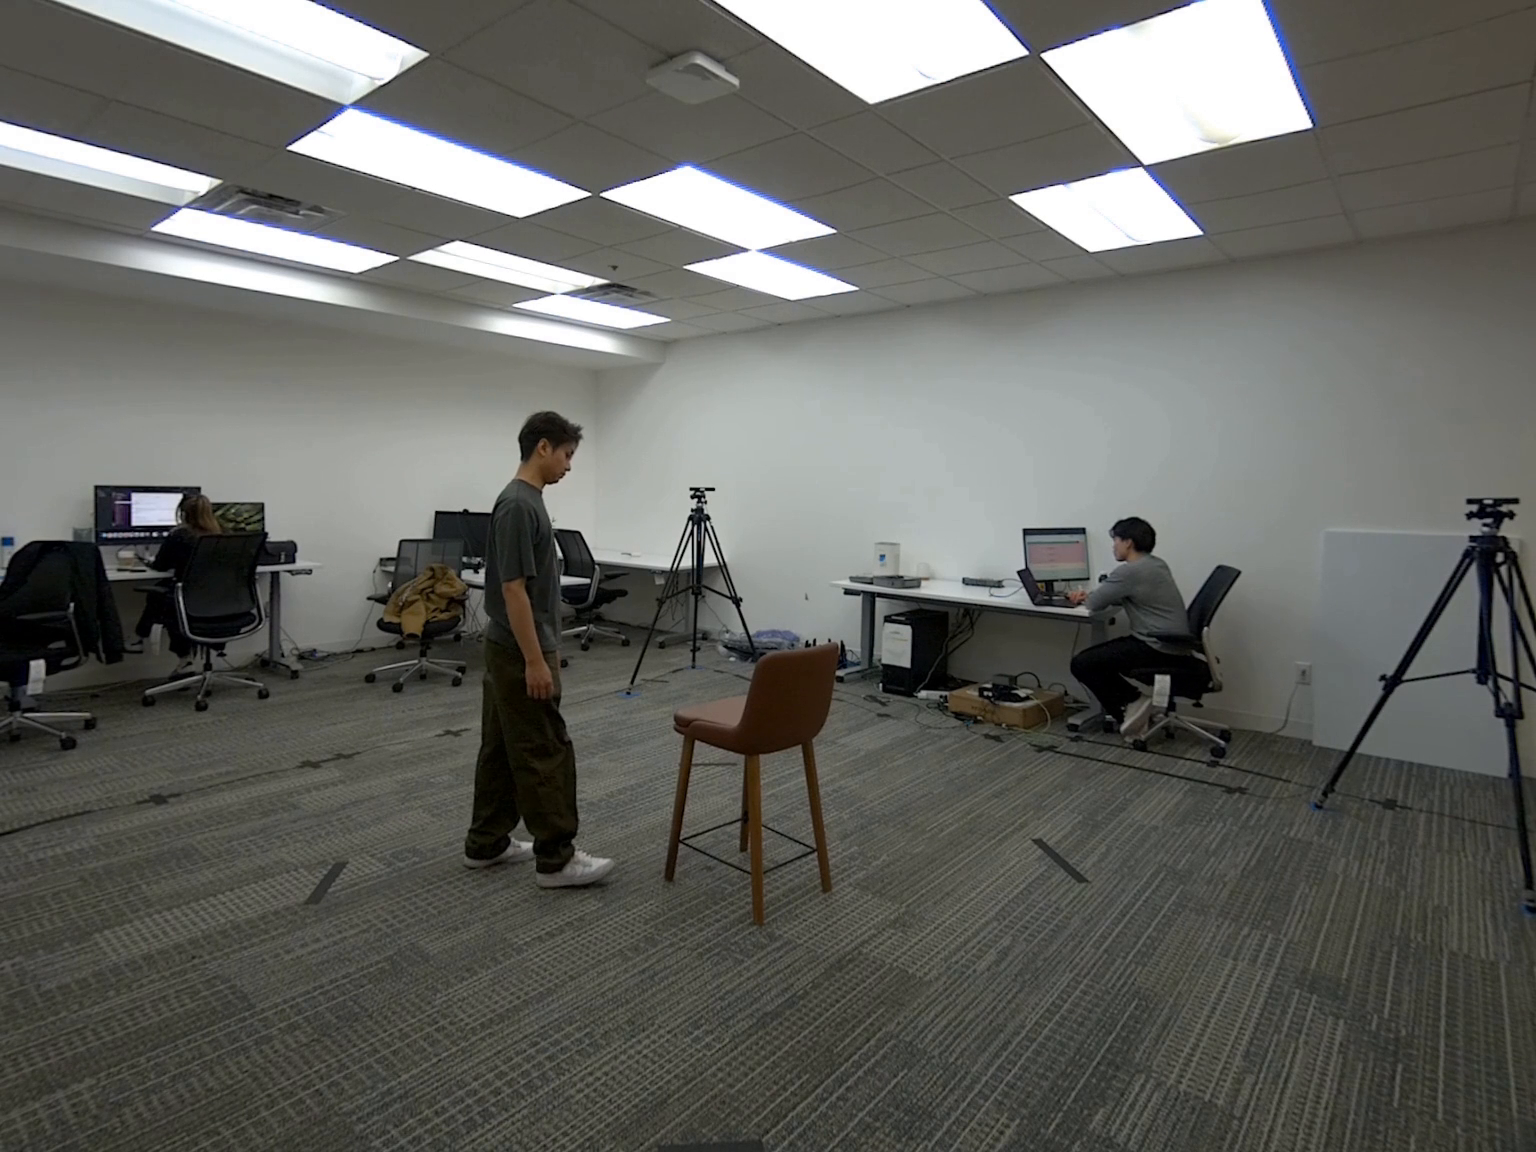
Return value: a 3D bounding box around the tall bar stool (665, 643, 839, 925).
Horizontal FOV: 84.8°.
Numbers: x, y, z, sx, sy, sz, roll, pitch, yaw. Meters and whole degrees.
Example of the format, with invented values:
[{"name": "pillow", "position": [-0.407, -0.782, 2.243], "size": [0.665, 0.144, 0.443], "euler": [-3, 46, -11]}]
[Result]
[{"name": "tall bar stool", "position": [-0.060, 0.649, 2.962], "size": [0.484, 0.886, 0.442], "euler": [7, 6, 44]}]
